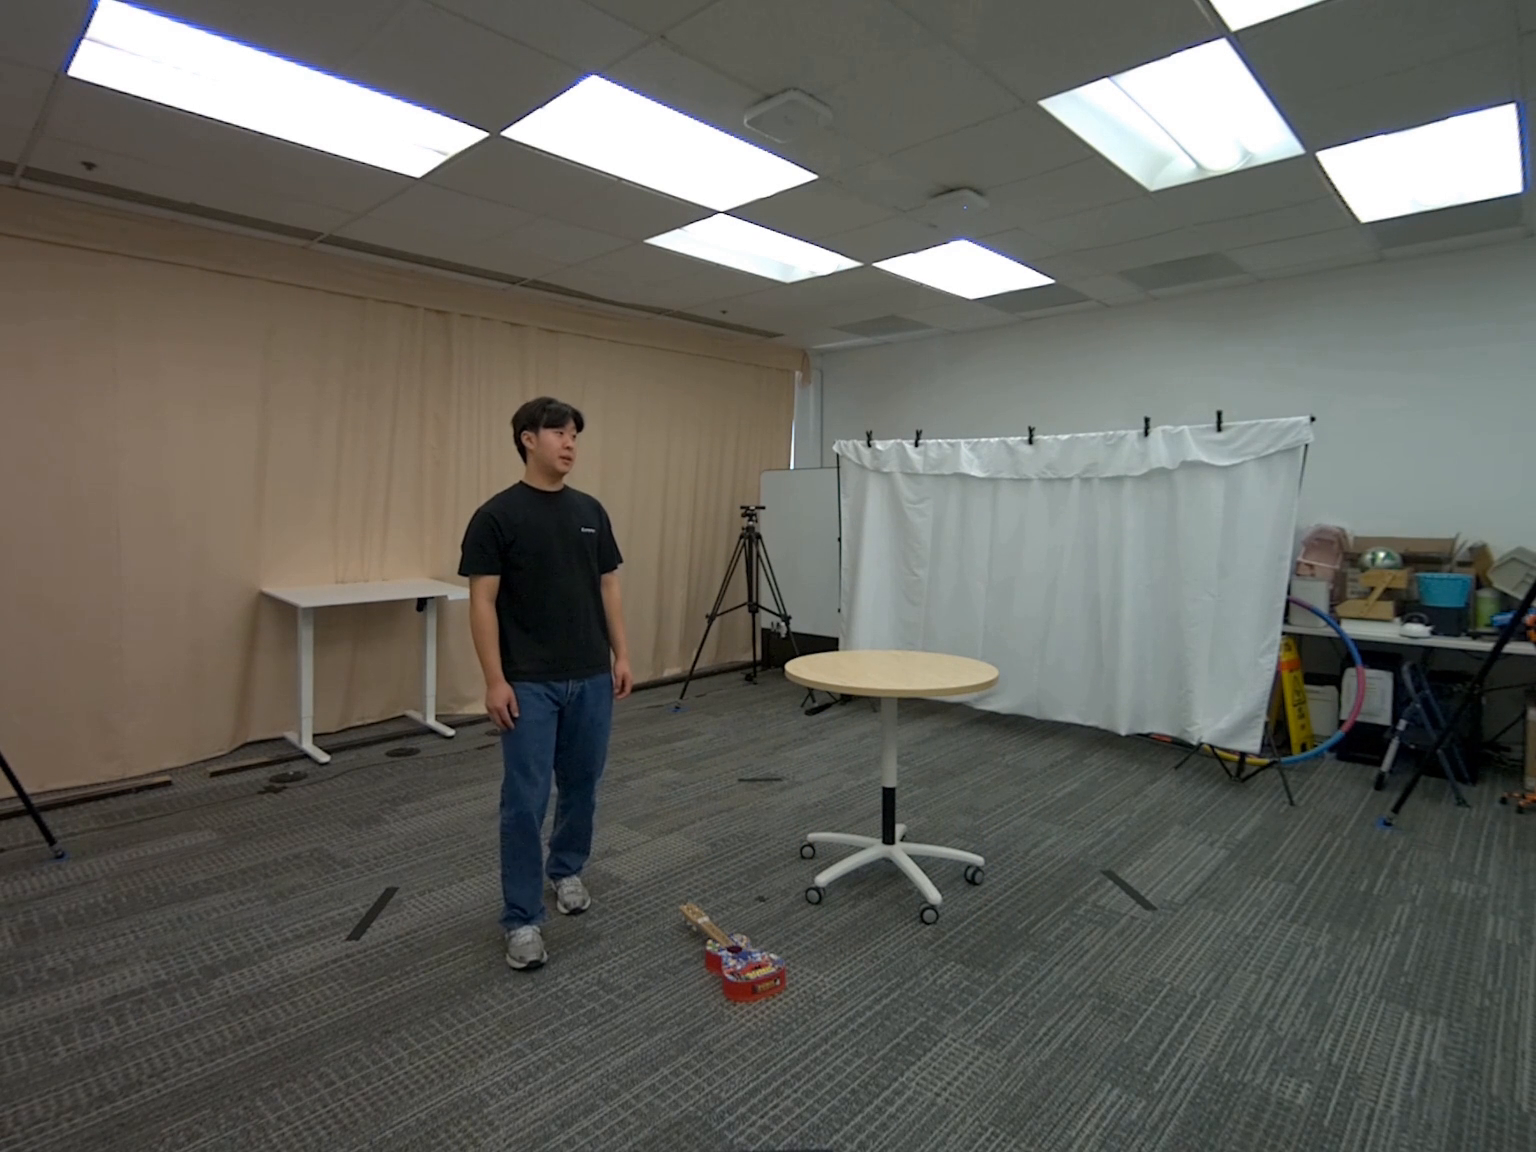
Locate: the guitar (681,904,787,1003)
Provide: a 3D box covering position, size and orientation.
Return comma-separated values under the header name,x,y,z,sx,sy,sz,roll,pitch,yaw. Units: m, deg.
name,x,y,z,sx,sy,sz,roll,pitch,yaw
guitar,-0.111,1.144,2.604,0.189,0.070,0.510,-2,5,-23
